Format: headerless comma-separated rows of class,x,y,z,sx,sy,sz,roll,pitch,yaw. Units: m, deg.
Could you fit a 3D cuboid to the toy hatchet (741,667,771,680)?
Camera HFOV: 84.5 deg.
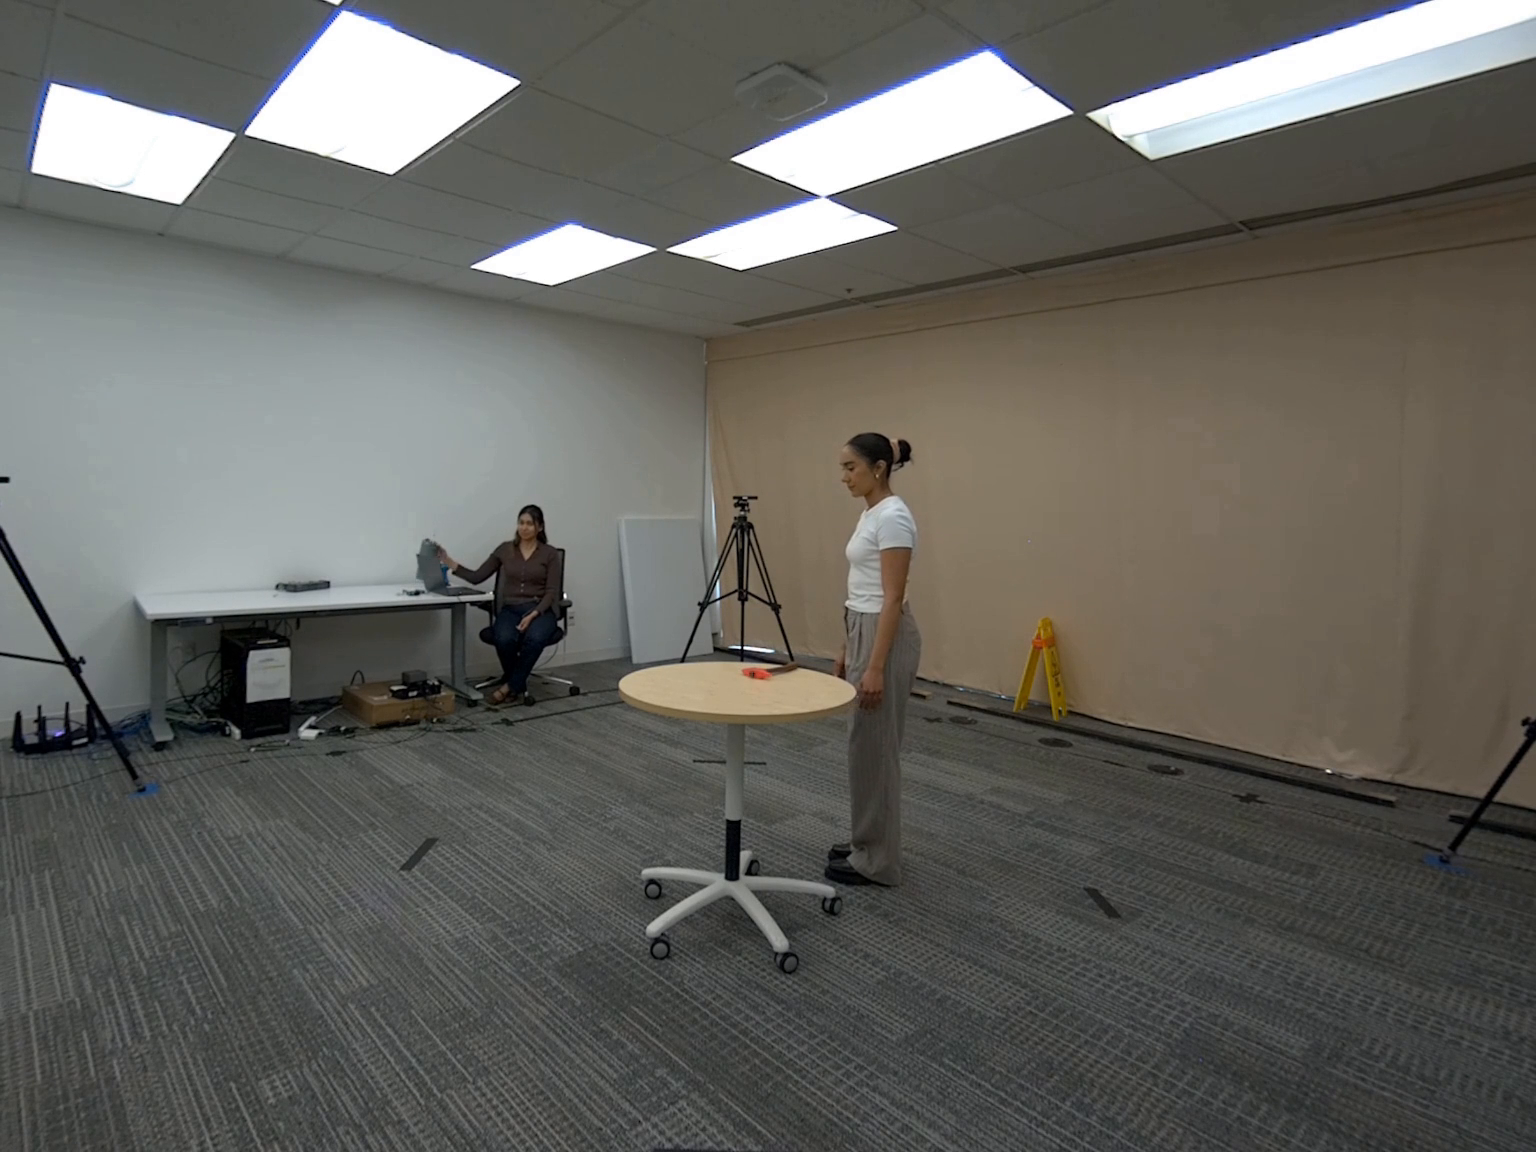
toy hatchet,-0.006,0.328,2.951,0.133,0.029,0.265,-1,2,24
